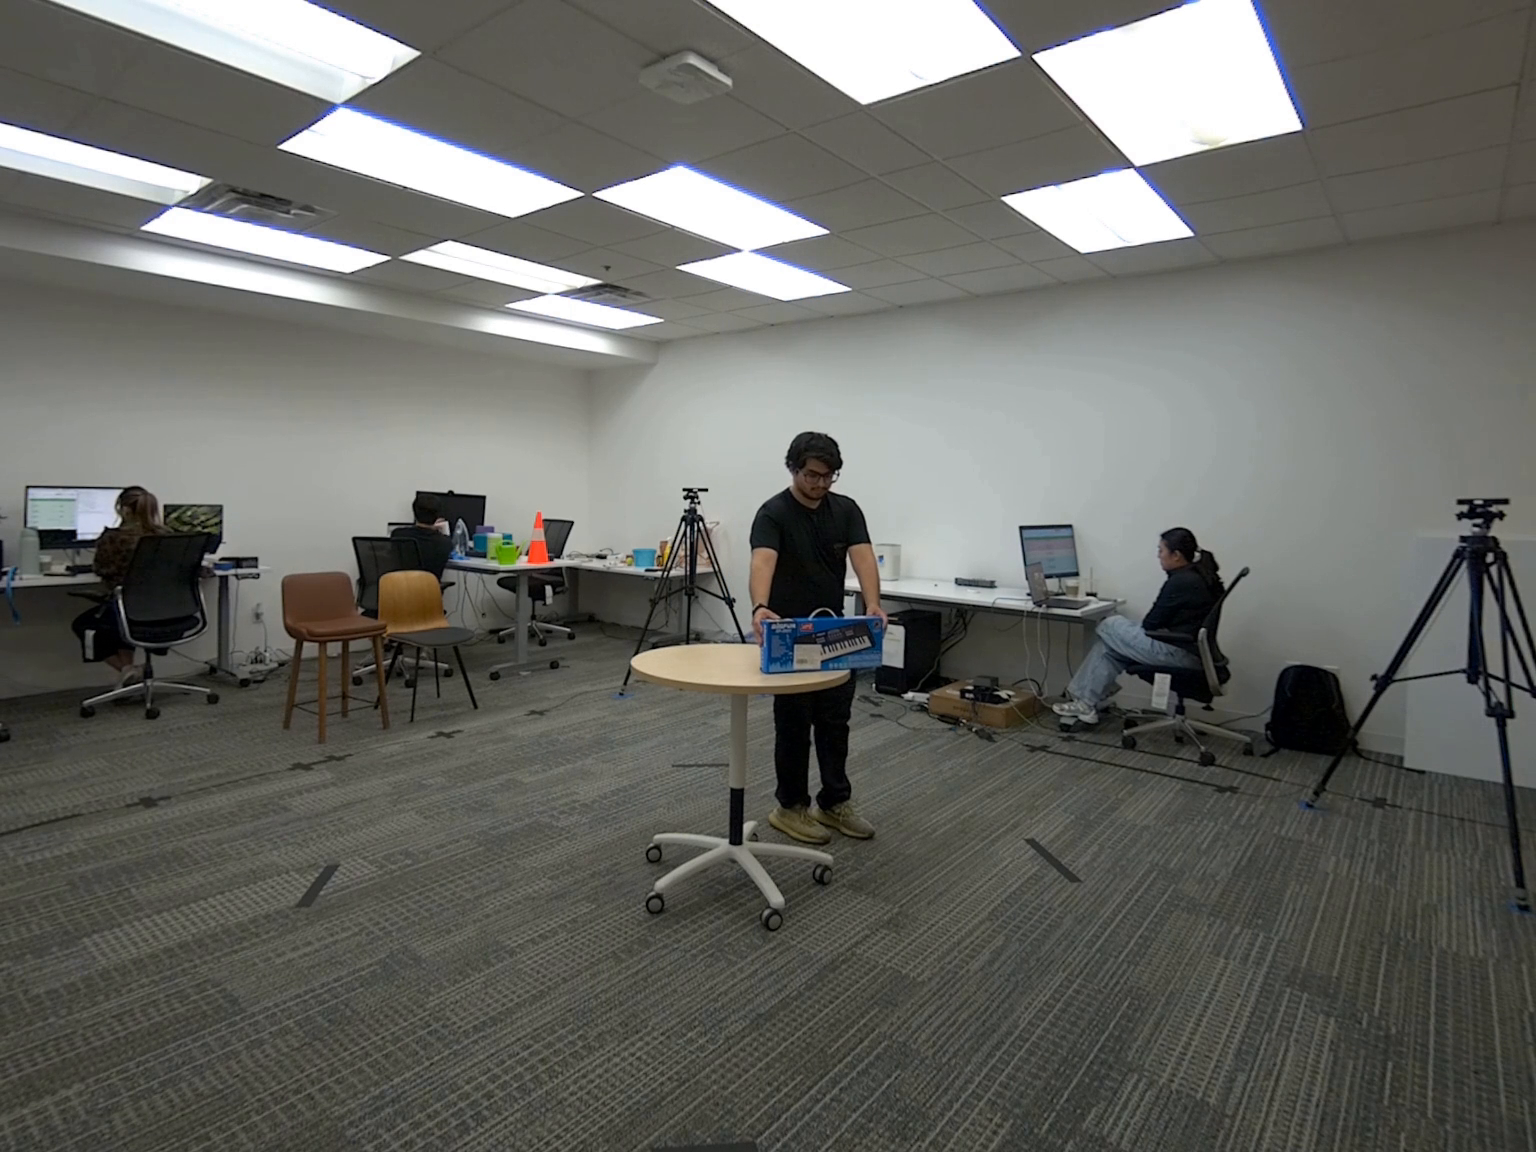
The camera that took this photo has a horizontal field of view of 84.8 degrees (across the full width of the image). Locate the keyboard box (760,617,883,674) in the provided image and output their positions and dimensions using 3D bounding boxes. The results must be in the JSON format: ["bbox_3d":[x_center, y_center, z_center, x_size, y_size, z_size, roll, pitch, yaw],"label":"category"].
[{"bbox_3d":[0.181,0.231,2.885,0.428,0.176,0.060,-1,2,-21],"label":"keyboard box"}]
